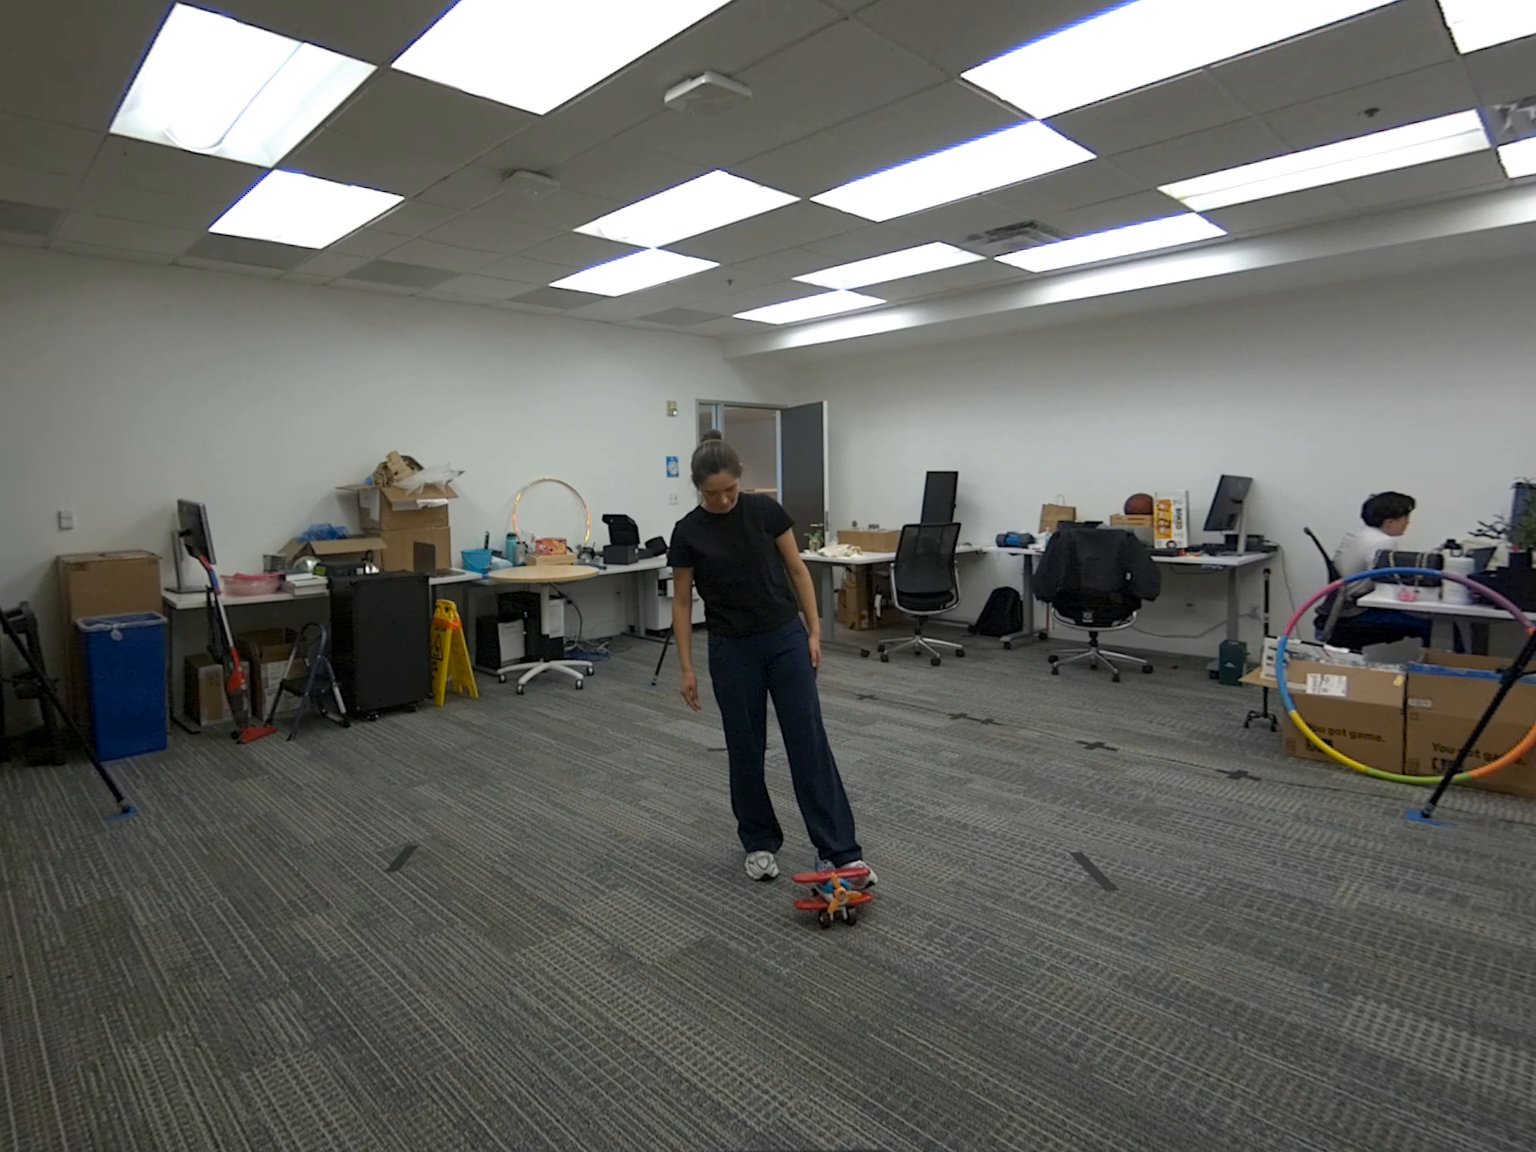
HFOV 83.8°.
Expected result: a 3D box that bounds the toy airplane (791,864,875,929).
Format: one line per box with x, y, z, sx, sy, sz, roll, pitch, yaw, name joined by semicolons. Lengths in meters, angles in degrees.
0.174;1.007;2.756;0.244;0.156;0.267;-5;8;-42;toy airplane
